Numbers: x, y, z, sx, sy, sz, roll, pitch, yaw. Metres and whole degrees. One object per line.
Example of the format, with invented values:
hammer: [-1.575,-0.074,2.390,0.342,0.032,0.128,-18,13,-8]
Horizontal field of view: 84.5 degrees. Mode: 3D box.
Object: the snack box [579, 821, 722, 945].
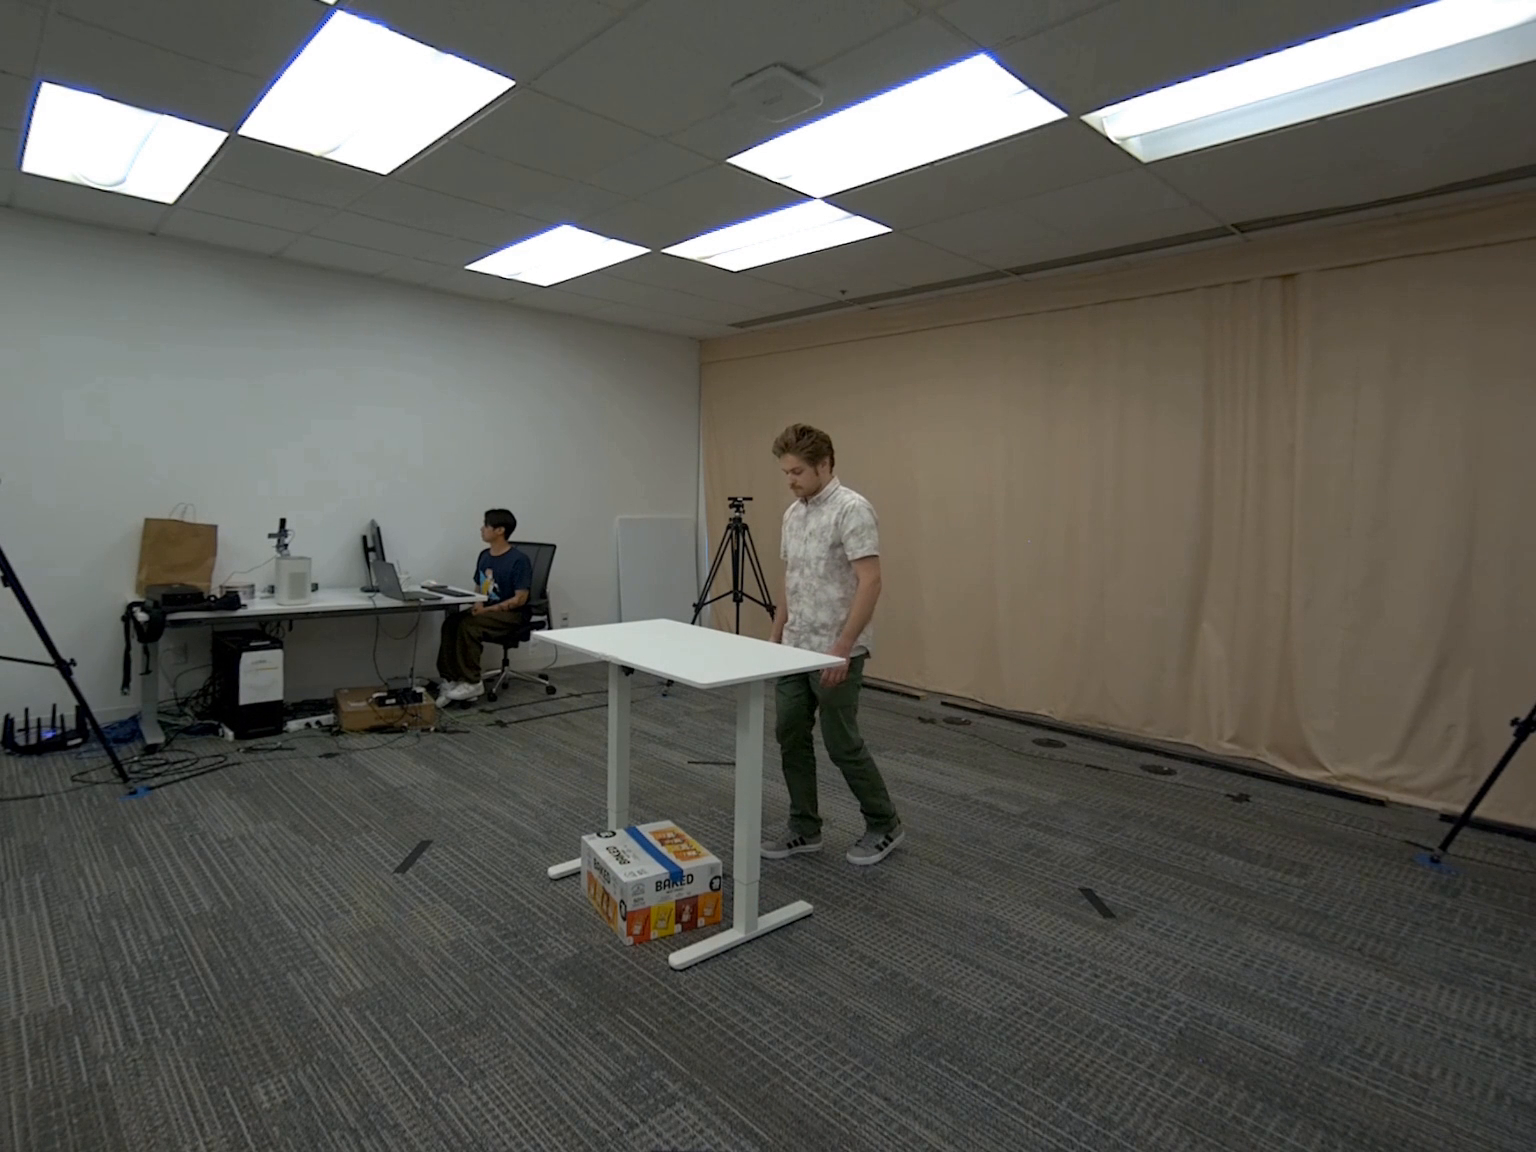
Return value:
snack box: [-0.410,1.026,2.846,0.333,0.205,0.414,-1,5,-31]
